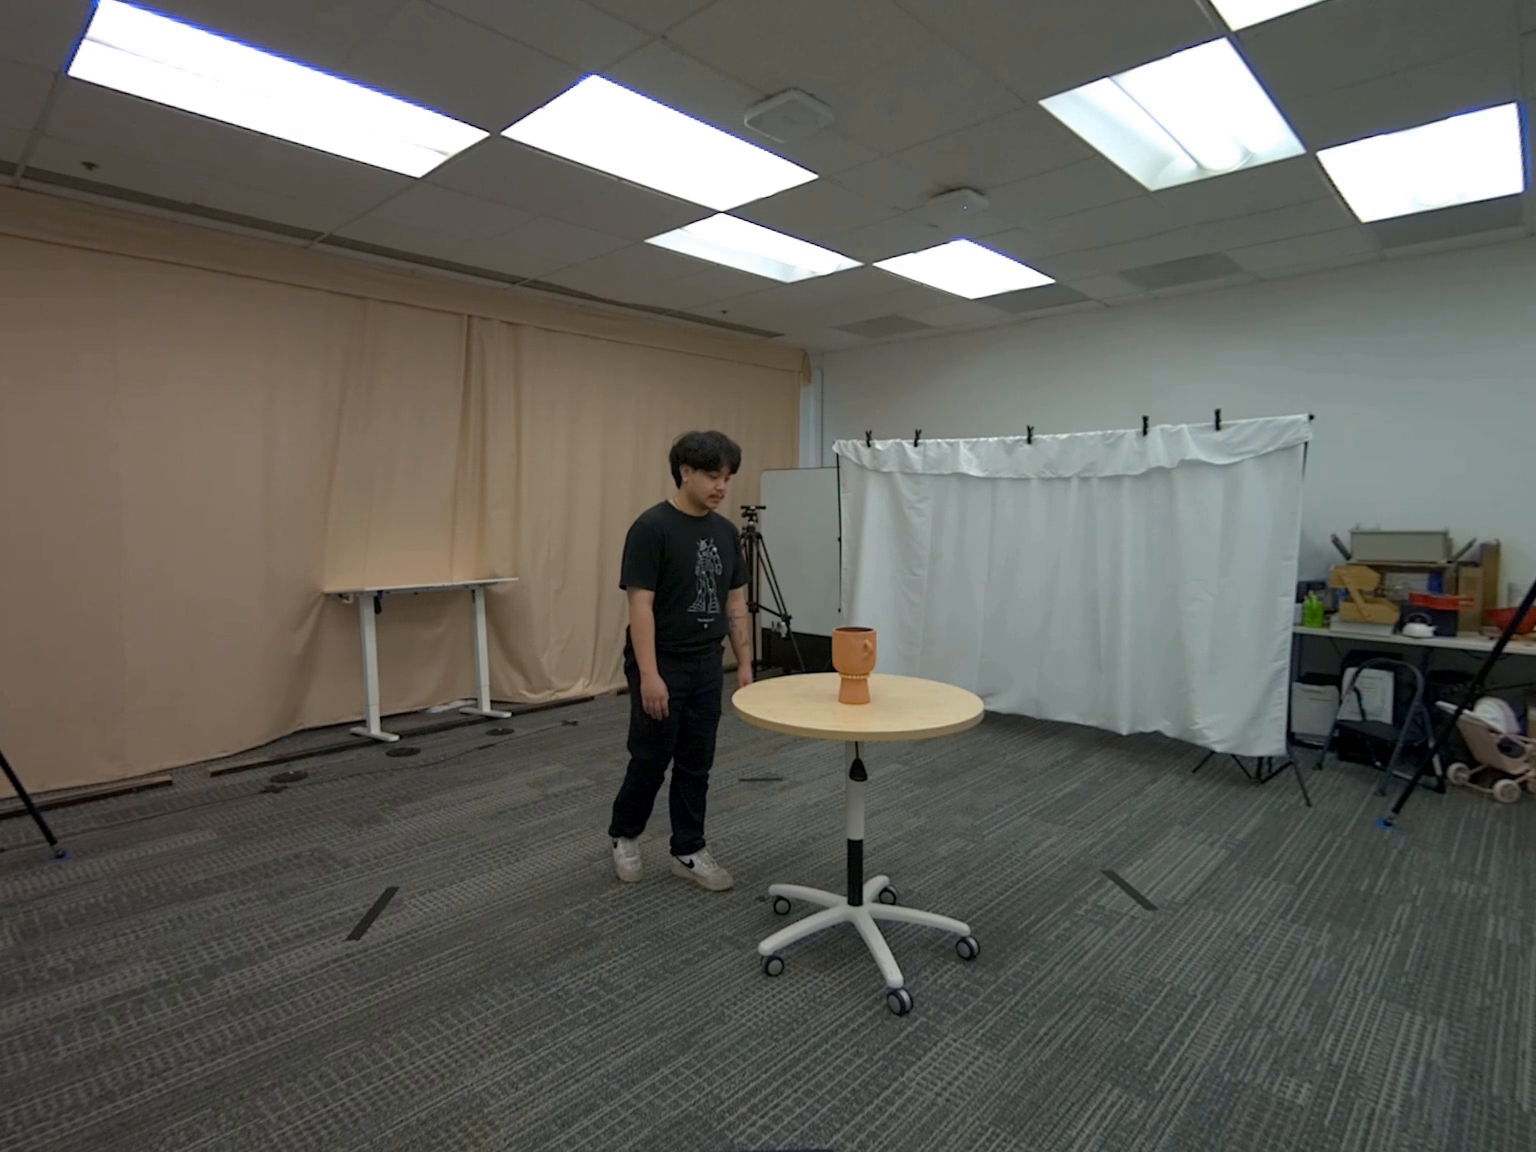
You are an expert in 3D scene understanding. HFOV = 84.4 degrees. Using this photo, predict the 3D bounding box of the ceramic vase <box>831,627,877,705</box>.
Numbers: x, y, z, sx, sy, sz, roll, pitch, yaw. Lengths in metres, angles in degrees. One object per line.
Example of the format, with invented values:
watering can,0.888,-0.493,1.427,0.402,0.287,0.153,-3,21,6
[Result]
ceramic vase,0.277,0.276,2.567,0.137,0.219,0.156,1,4,15
